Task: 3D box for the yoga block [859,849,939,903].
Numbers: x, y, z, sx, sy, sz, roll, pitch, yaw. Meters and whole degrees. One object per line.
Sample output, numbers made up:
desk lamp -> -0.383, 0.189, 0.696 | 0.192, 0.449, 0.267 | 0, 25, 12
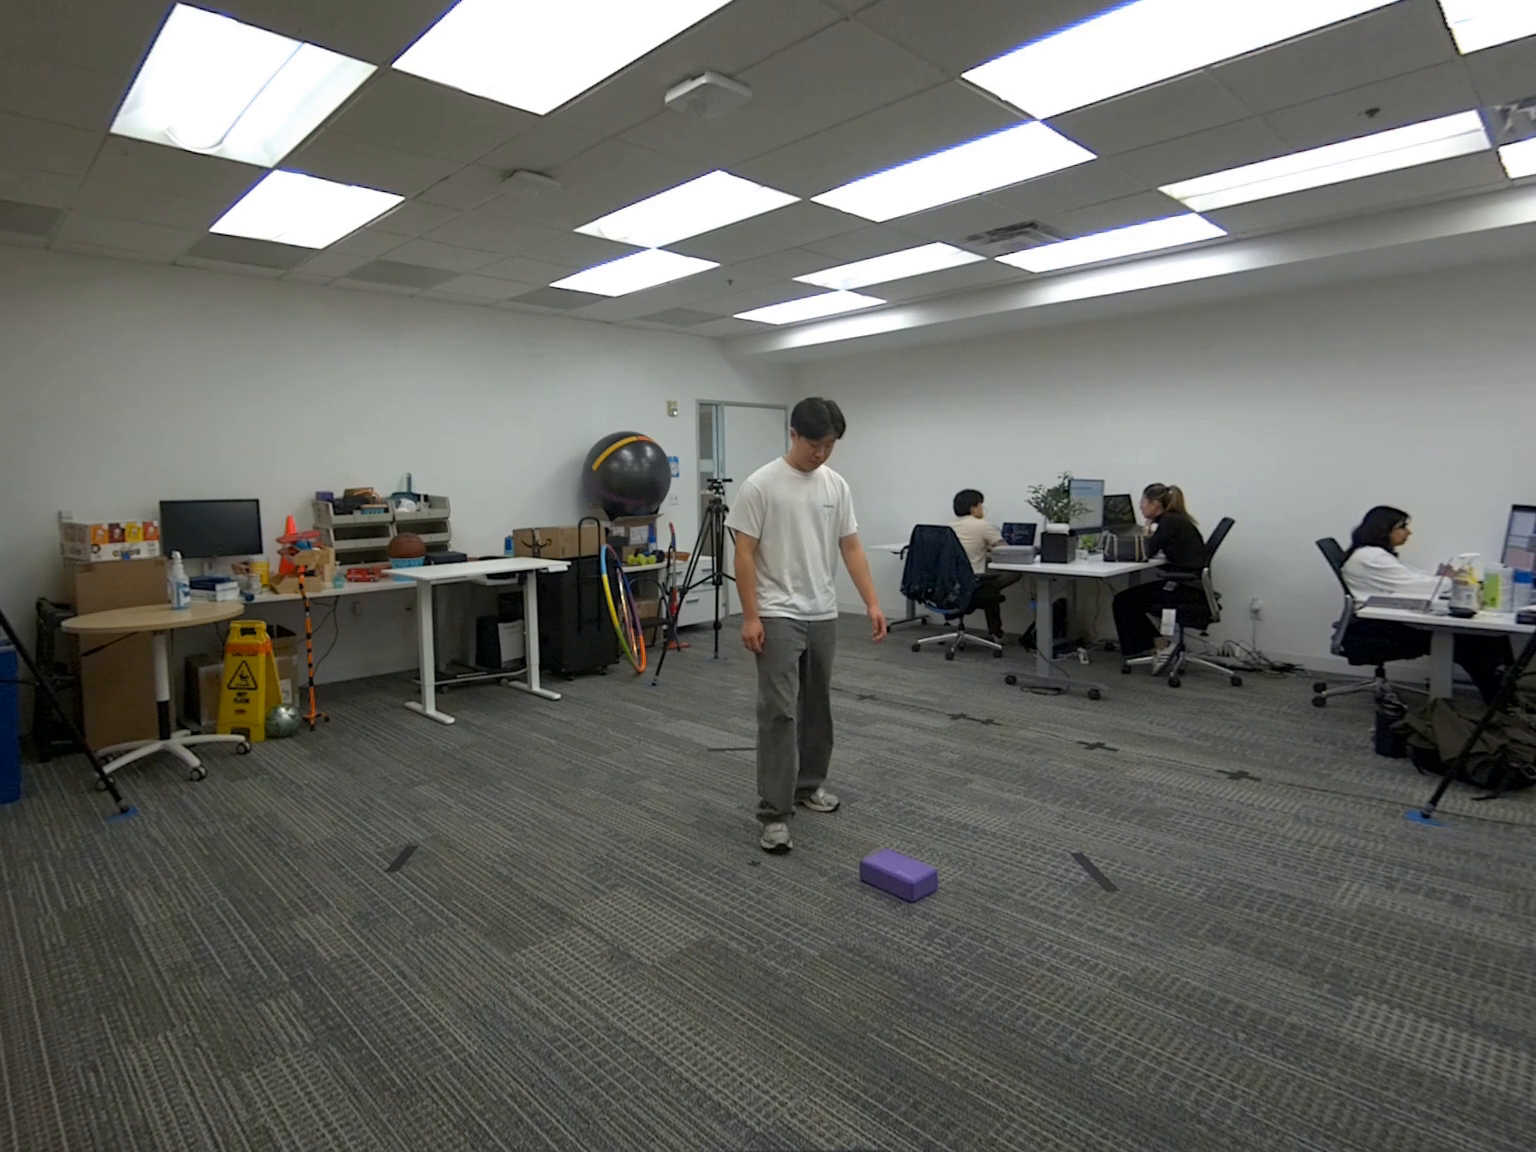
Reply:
yoga block -> 0.450, 1.021, 2.921 | 0.145, 0.076, 0.236 | -6, 8, -42
